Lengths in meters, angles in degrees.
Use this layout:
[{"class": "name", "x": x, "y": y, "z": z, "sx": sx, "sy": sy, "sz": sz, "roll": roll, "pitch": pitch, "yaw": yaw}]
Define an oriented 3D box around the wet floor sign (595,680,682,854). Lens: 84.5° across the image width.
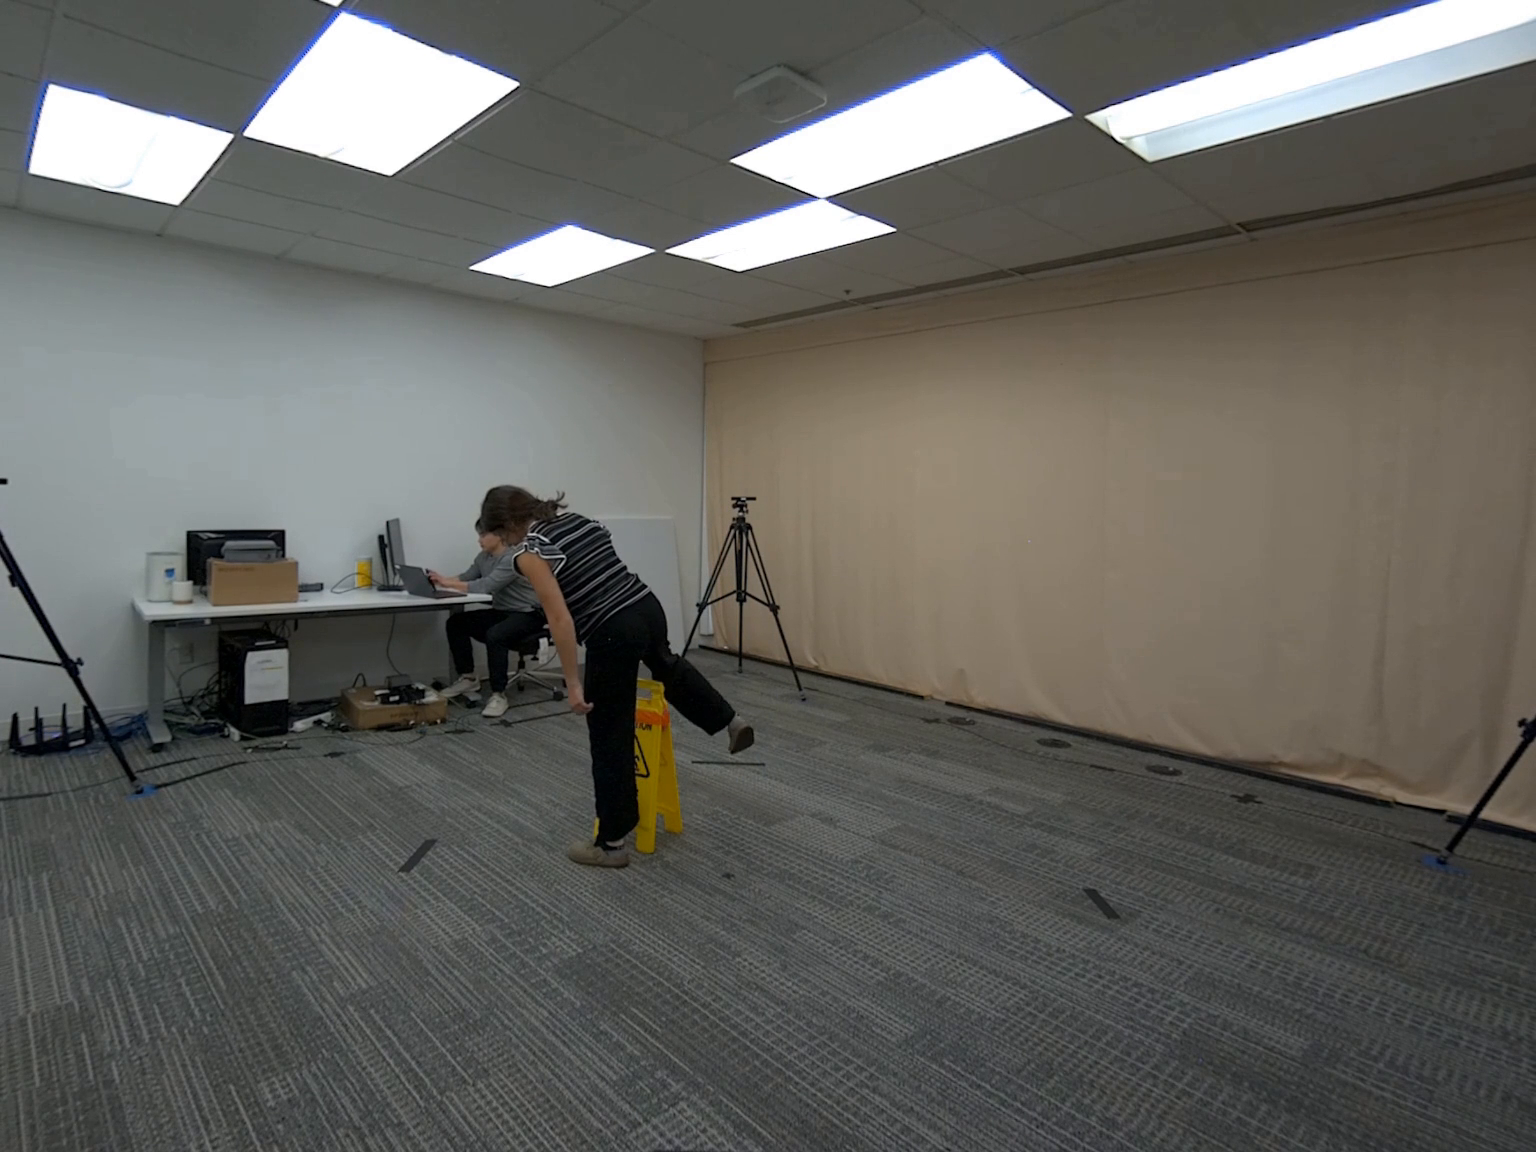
[{"class": "wet floor sign", "x": -0.530, "y": 0.746, "z": 3.435, "sx": 0.287, "sy": 0.645, "sz": 0.285, "roll": 3, "pitch": 2, "yaw": 23}]
